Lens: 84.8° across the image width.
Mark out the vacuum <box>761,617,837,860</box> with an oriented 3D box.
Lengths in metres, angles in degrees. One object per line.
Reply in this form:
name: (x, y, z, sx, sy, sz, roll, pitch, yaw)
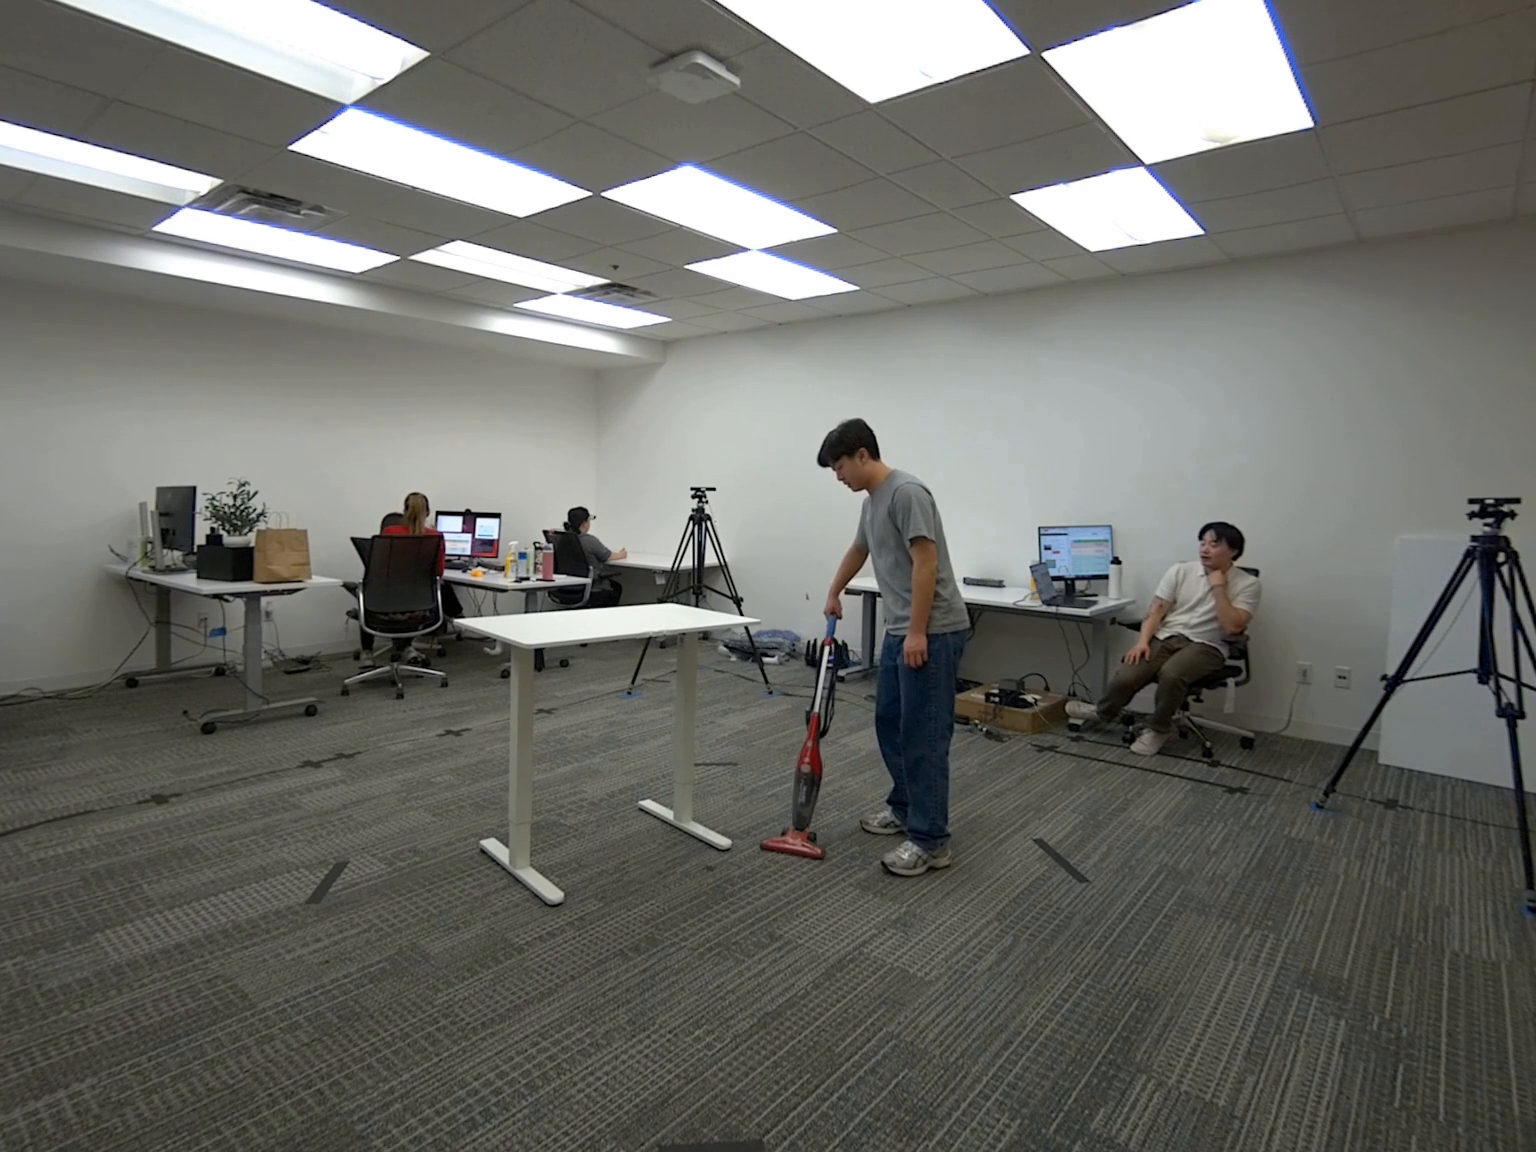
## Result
vacuum: (0.210, 0.586, 3.539, 0.259, 1.066, 0.138, 1, -29, 23)
